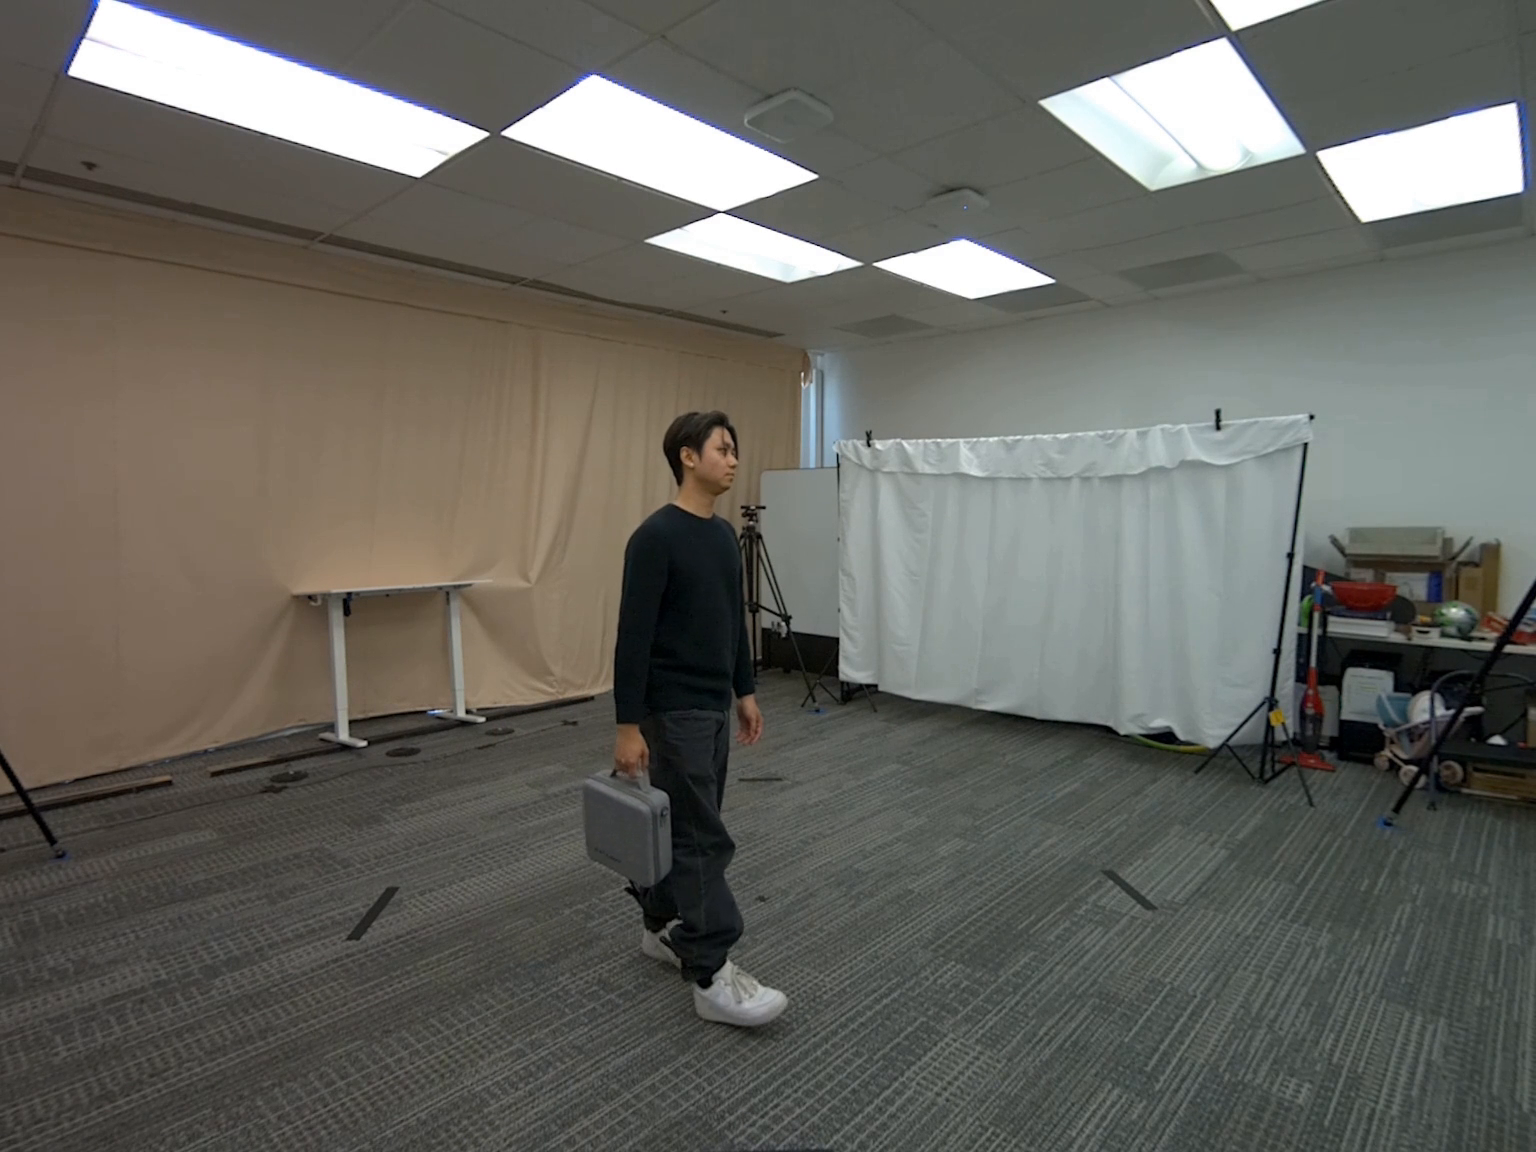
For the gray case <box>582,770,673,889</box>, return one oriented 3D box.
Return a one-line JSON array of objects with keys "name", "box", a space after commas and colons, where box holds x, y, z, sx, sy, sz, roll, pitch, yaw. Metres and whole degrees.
[{"name": "gray case", "box": [-0.380, 0.676, 2.289, 0.265, 0.258, 0.102, 10, 16, 34]}]
